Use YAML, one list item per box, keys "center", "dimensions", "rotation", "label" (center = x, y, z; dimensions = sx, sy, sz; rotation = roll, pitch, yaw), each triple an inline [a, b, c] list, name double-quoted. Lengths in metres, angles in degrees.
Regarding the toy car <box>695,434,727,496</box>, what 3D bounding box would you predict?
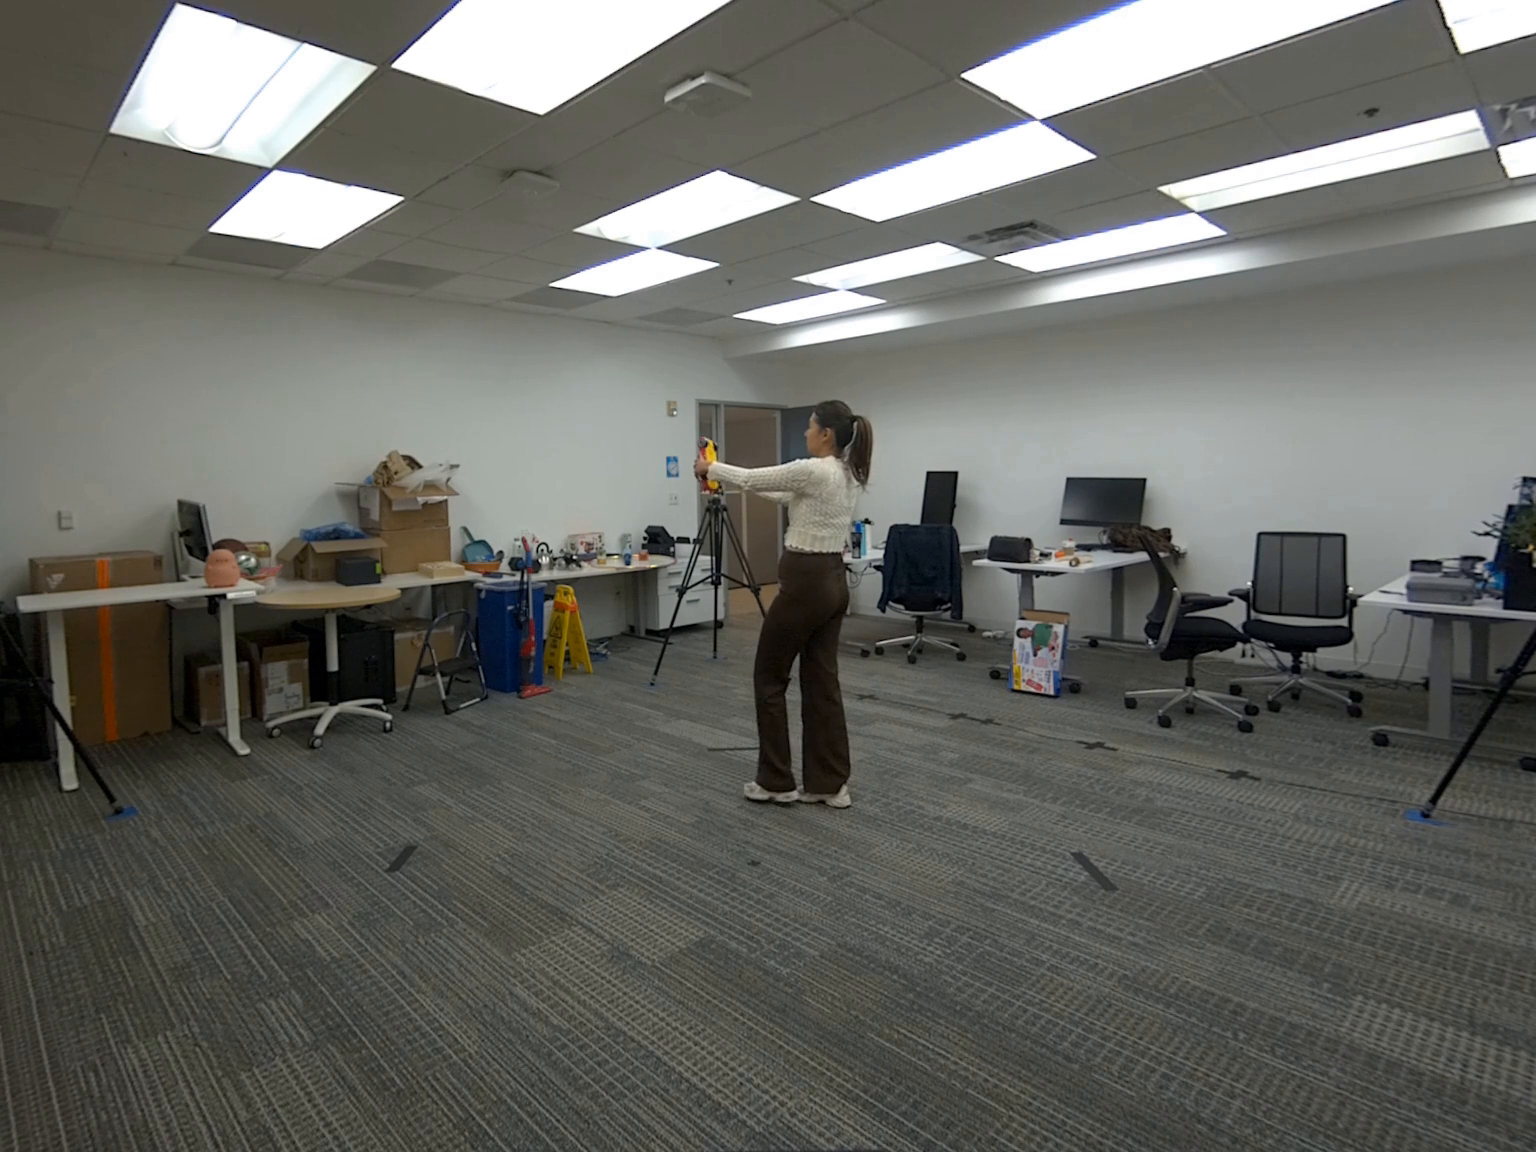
- center: [-0.261, -0.505, 3.908]
  dimensions: [0.085, 0.256, 0.127]
  rotation: [-2, -6, 24]
  label: "toy car"
